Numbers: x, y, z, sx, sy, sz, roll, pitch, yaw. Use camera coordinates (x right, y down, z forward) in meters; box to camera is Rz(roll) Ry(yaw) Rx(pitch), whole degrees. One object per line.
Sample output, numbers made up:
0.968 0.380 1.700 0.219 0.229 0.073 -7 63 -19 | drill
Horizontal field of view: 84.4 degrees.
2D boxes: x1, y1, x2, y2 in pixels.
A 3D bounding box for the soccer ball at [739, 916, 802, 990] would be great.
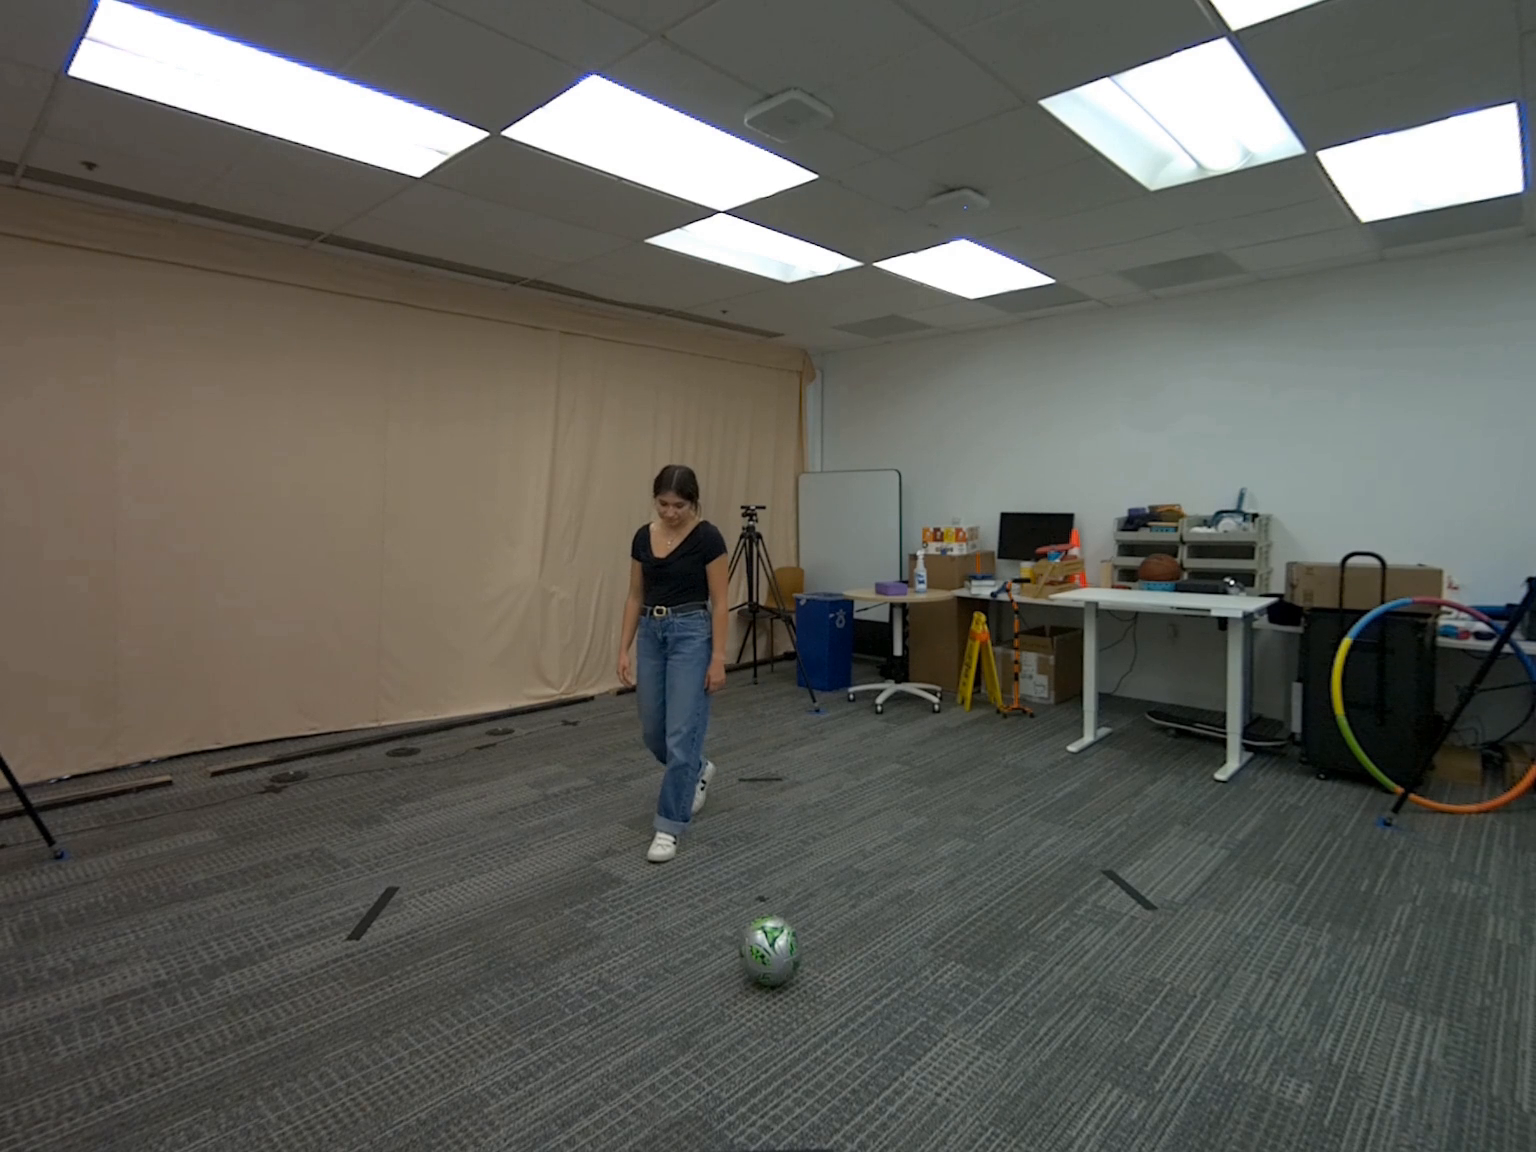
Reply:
0.020 1.097 2.450 0.187 0.187 0.188 0 4 -2 | soccer ball
